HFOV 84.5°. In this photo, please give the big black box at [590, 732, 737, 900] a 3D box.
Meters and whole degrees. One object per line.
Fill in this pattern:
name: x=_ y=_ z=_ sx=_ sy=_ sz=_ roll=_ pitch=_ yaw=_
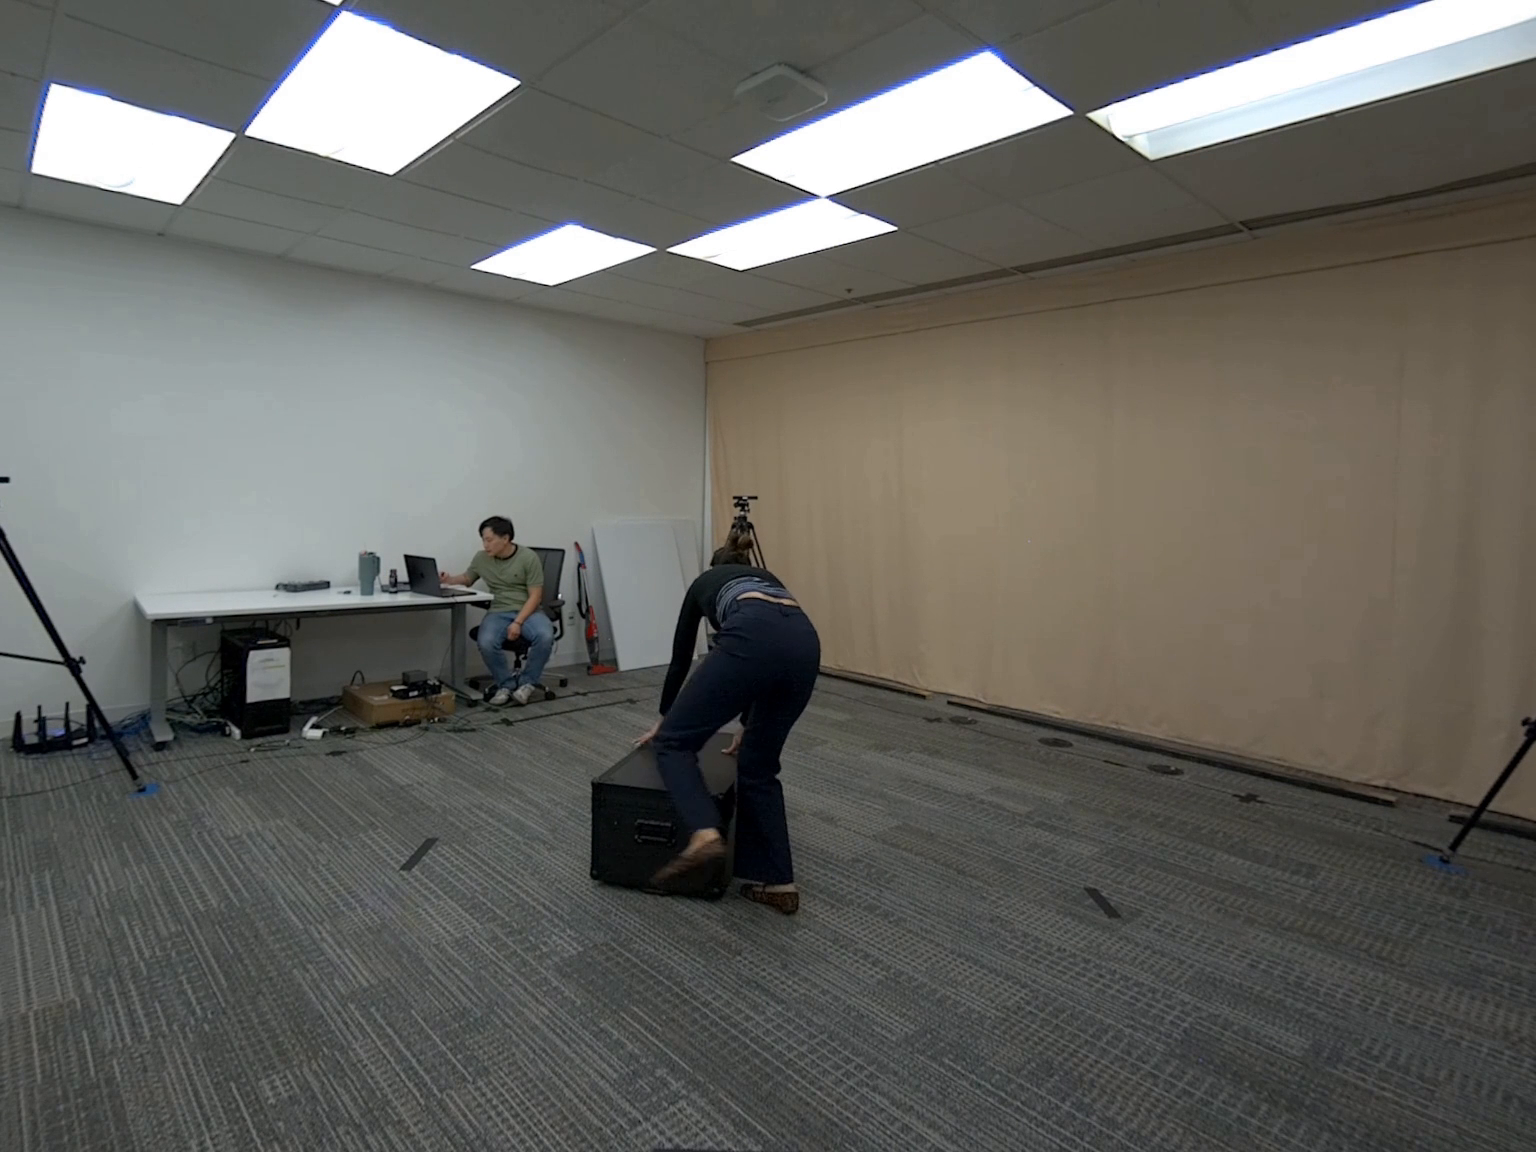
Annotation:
big black box: x=-0.304 y=0.882 z=3.323 sx=0.527 sy=0.395 sz=0.855 roll=3 pitch=6 yaw=13
